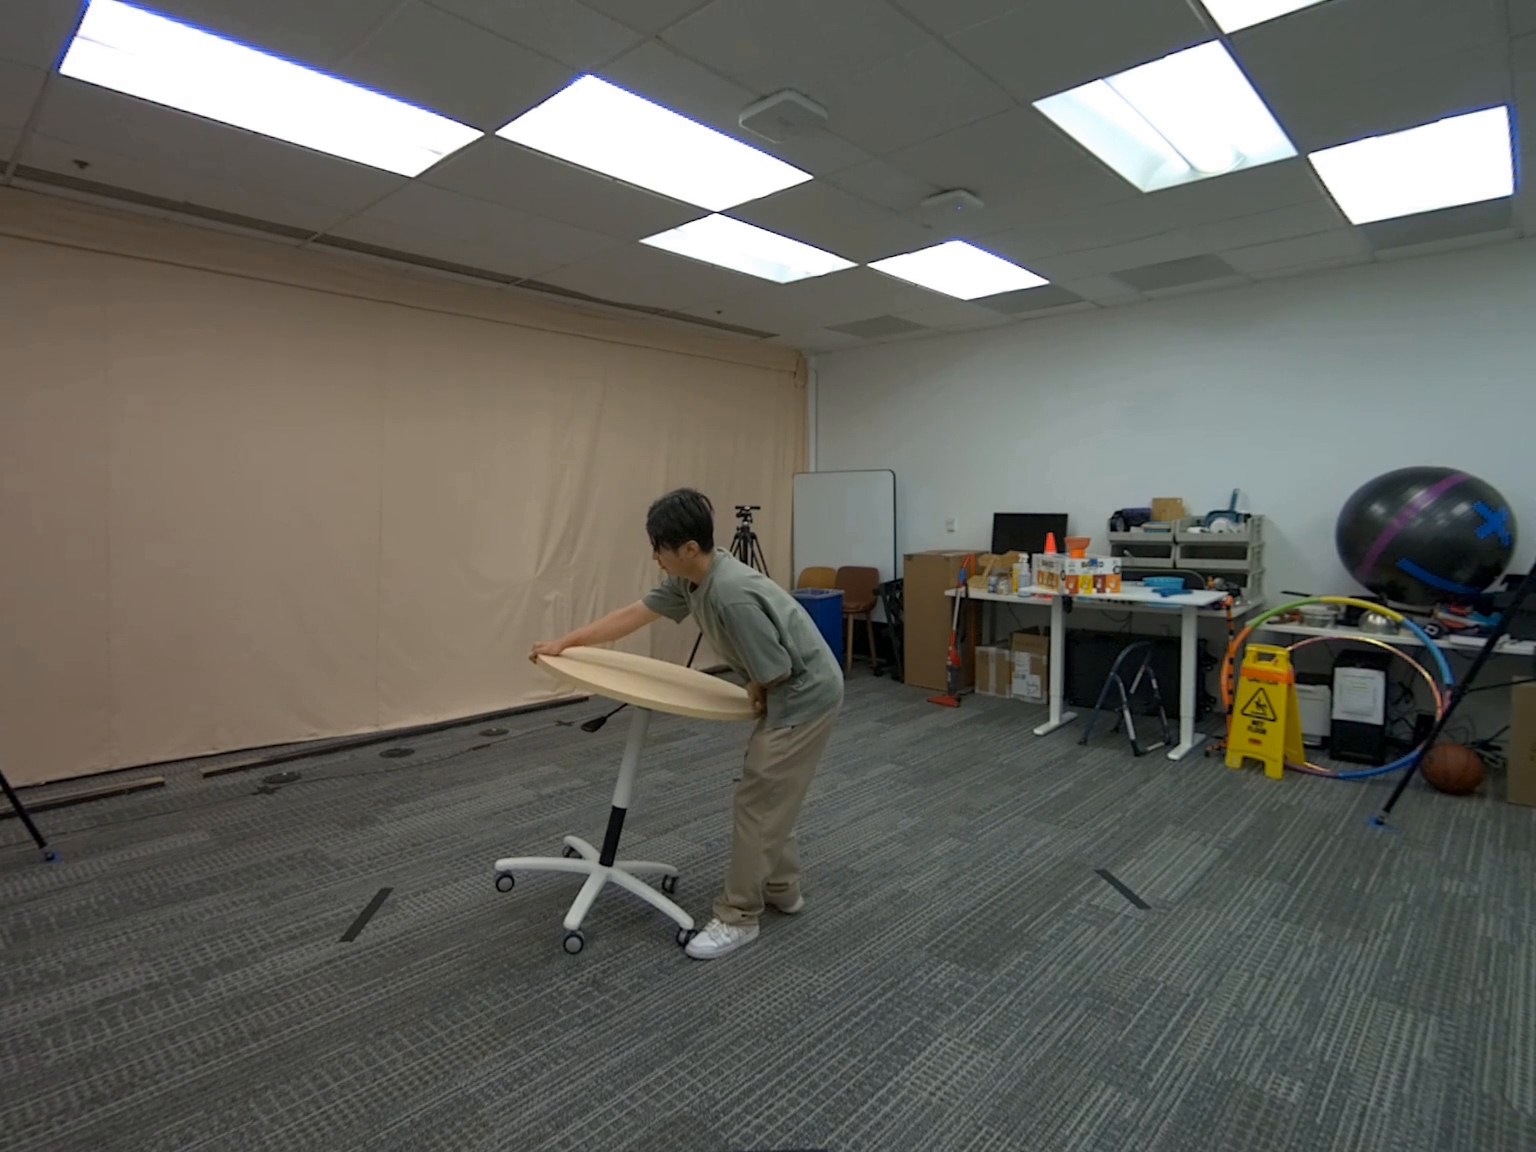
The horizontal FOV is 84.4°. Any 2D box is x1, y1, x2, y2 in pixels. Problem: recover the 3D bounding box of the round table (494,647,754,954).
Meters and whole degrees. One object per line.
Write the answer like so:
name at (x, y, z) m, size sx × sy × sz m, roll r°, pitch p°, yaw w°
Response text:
round table at (-0.485, 0.711, 2.778) m, size 0.784 × 0.786 × 0.786 m, roll 13°, pitch 1°, yaw -2°
